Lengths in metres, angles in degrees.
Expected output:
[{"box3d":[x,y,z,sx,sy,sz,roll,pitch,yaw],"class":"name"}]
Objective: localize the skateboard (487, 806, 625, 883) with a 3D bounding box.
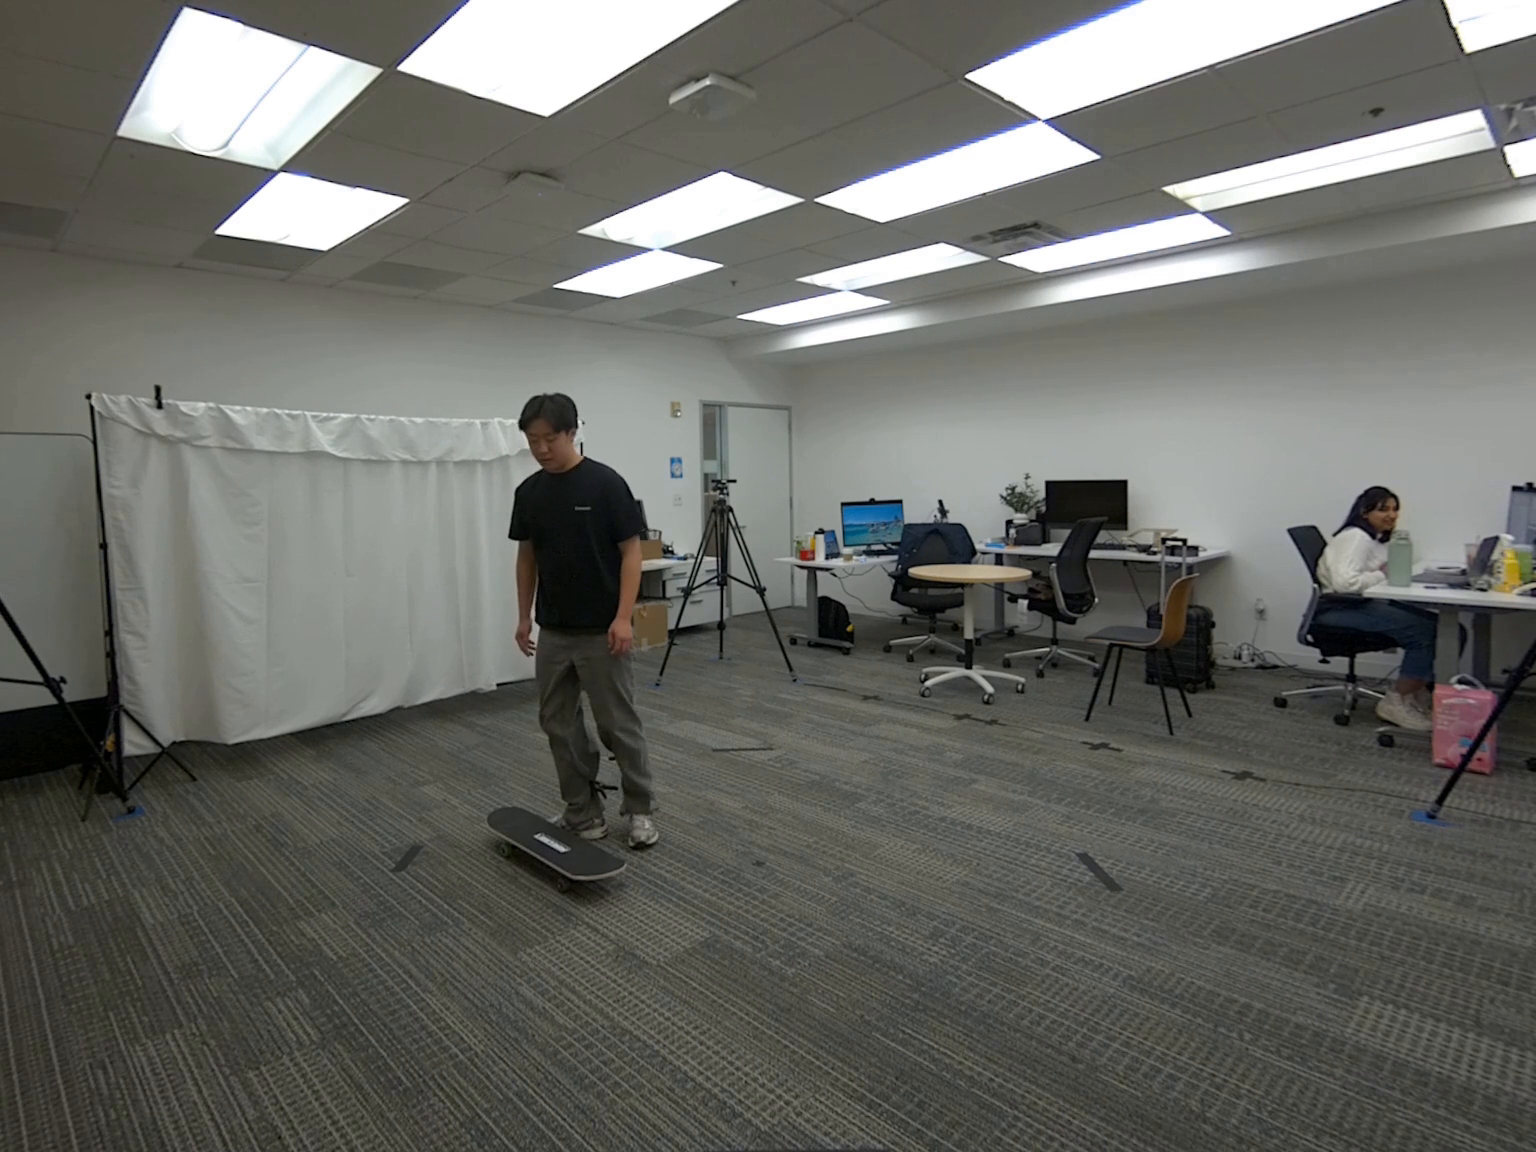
[{"box3d":[-0.786,1.009,3.120,0.188,0.110,0.809,-8,9,-44],"class":"skateboard"}]
